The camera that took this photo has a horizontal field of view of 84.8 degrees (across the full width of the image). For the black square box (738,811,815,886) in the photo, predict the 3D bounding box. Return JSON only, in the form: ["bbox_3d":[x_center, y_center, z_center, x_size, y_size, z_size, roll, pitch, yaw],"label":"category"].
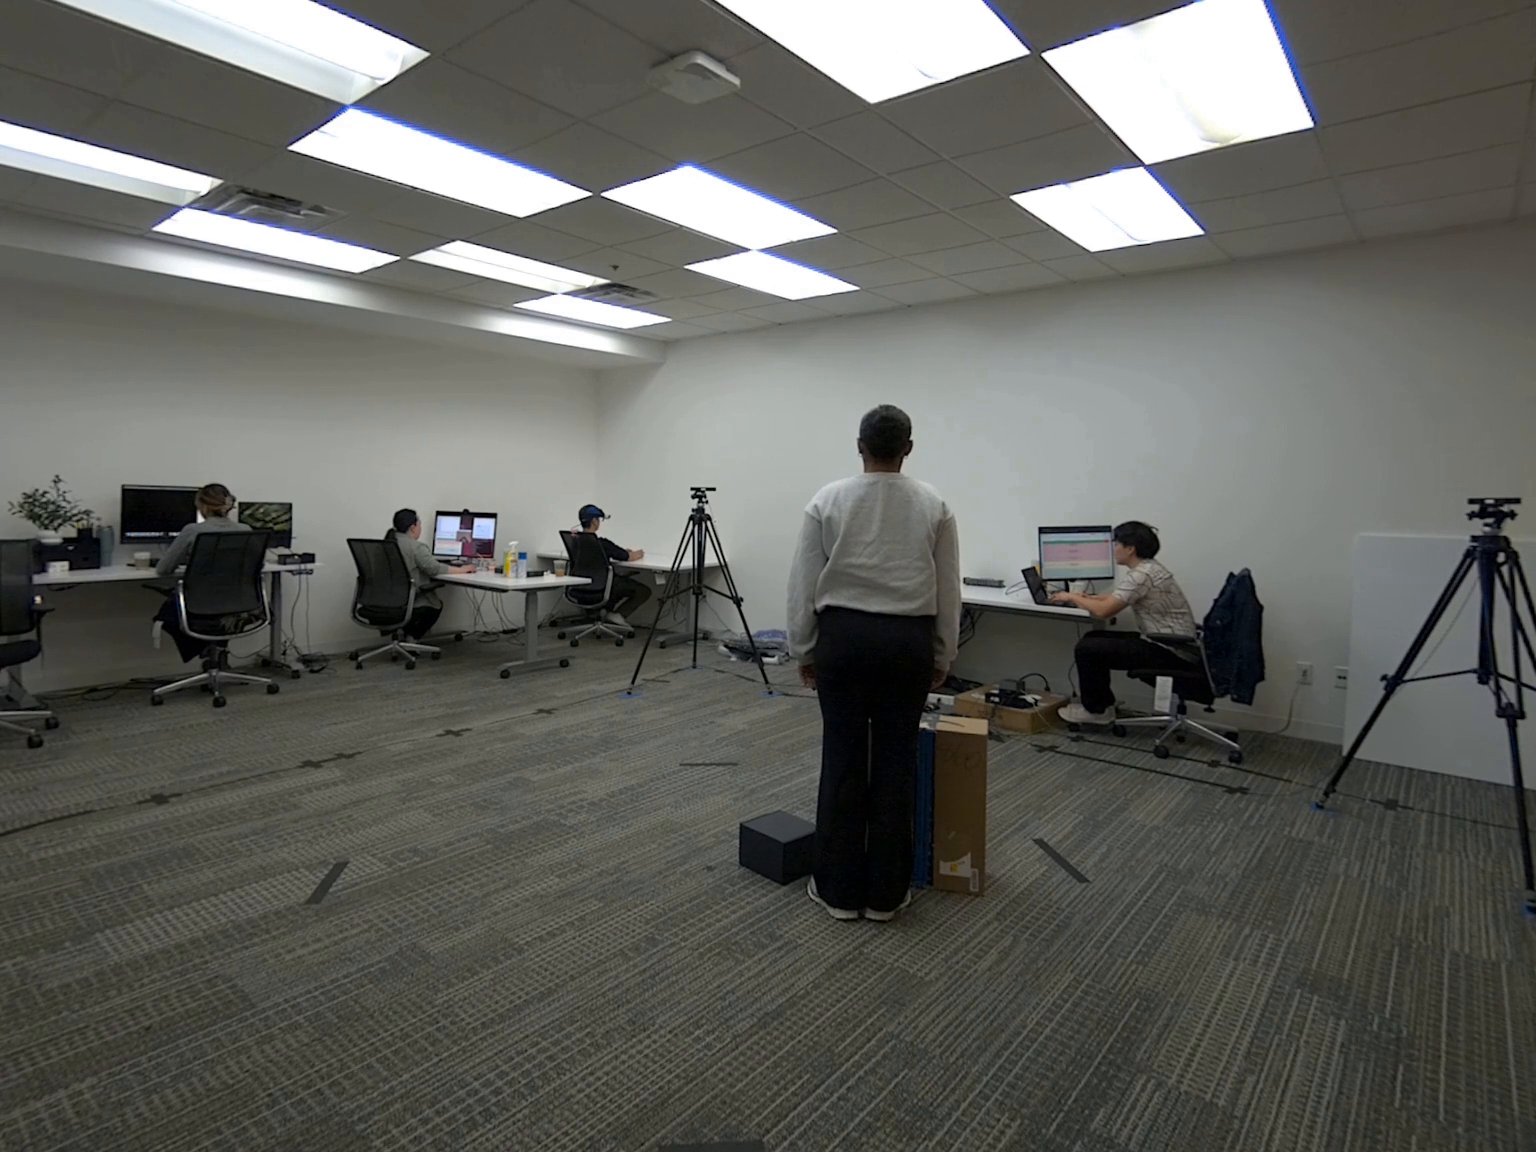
[{"bbox_3d":[0.040,0.989,3.133,0.210,0.155,0.236,-3,6,-44],"label":"black square box"}]
